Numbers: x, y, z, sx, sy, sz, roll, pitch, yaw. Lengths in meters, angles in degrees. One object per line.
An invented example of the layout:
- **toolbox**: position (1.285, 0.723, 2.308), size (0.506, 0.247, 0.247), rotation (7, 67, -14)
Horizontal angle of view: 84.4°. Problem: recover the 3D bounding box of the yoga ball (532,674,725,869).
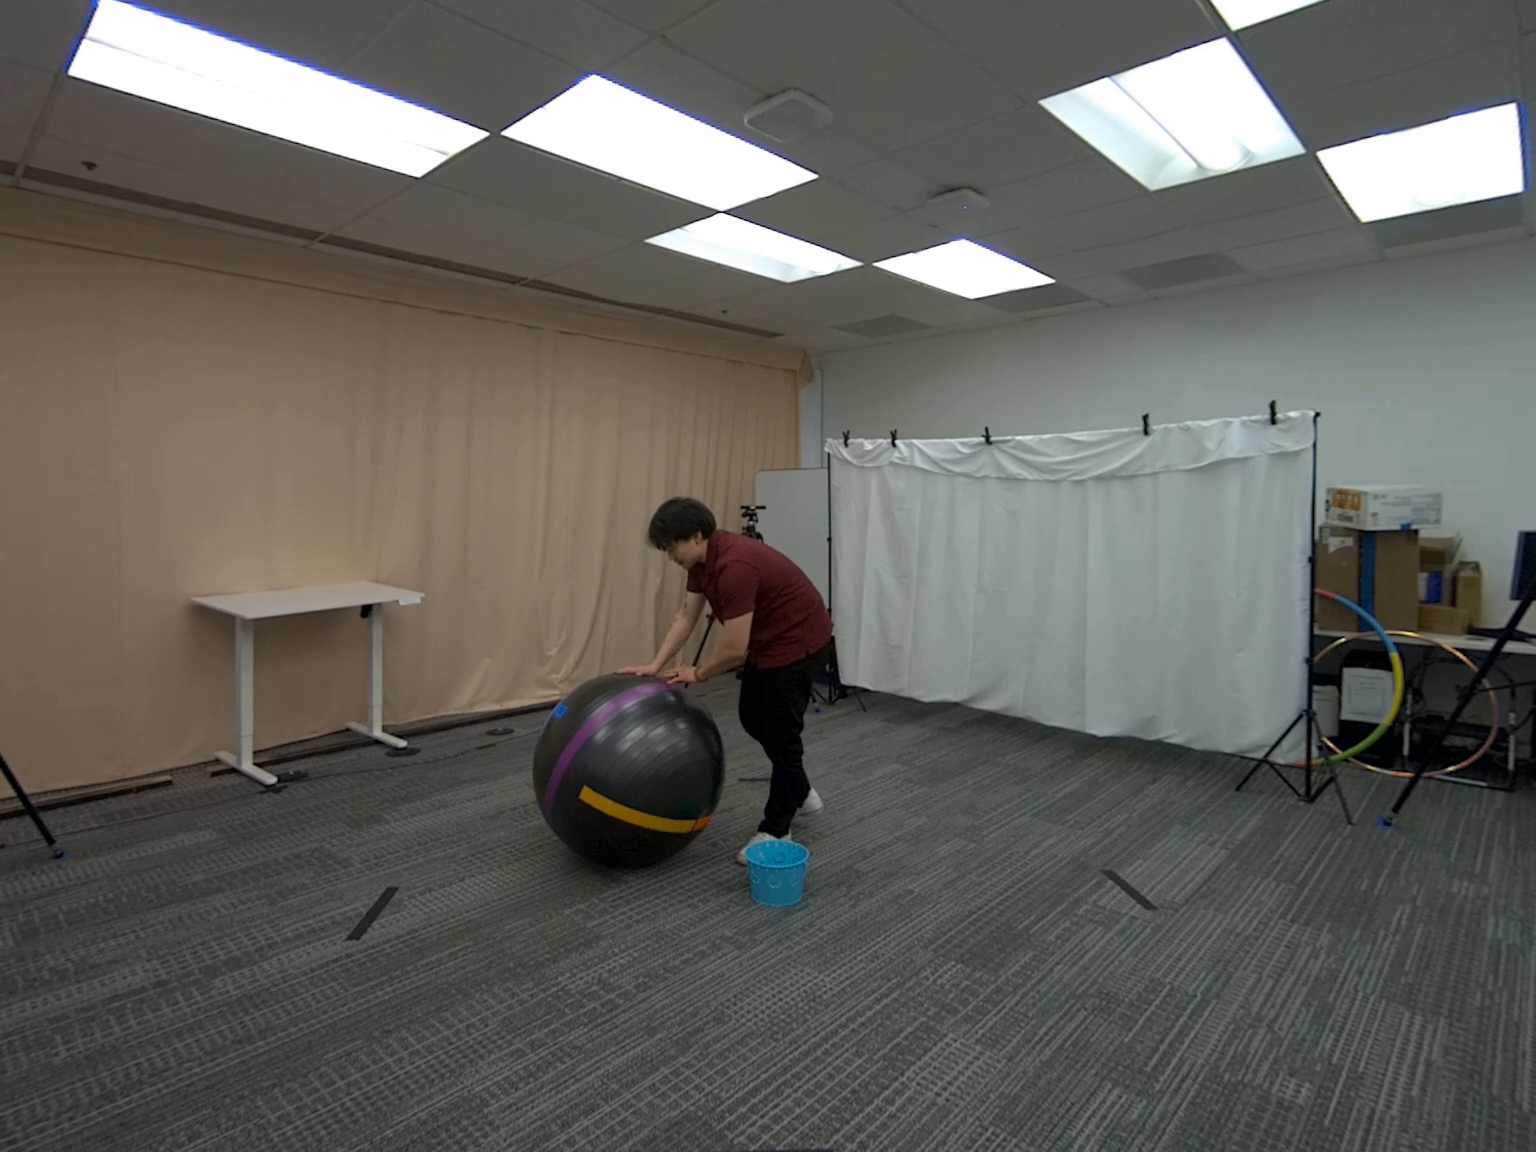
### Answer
- **yoga ball**: position (-0.554, 0.761, 3.361), size (0.757, 0.756, 0.760), rotation (0, 4, -2)
